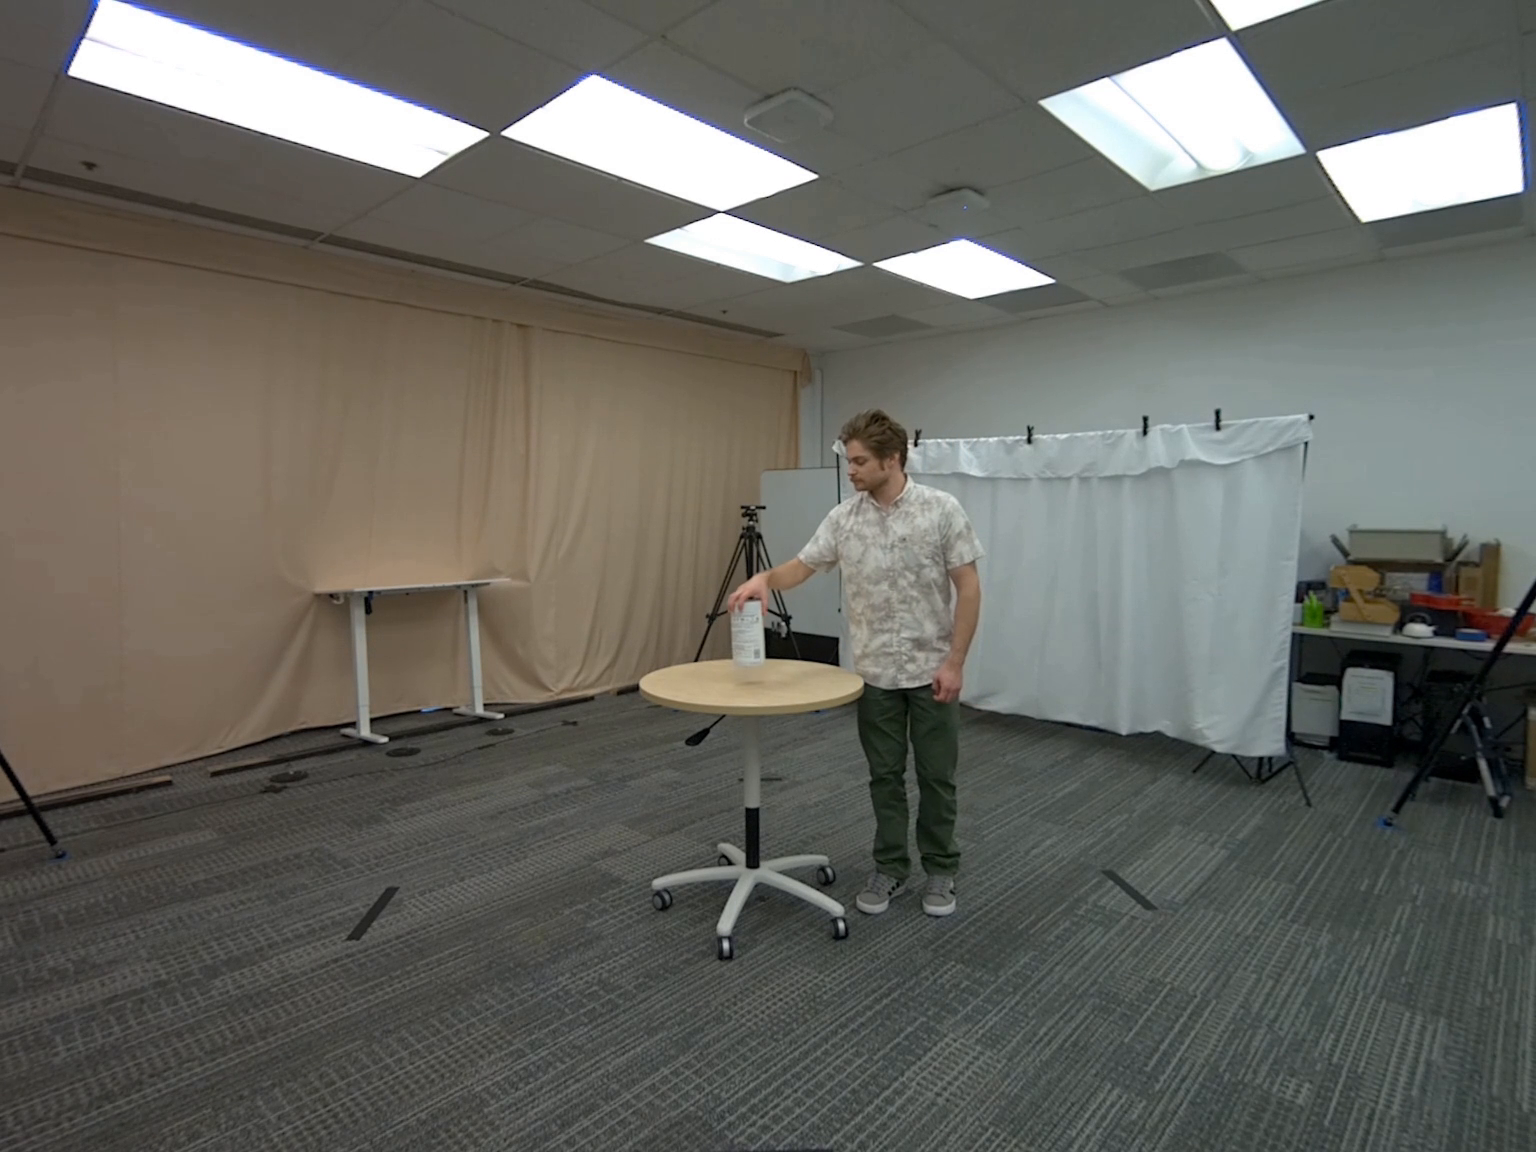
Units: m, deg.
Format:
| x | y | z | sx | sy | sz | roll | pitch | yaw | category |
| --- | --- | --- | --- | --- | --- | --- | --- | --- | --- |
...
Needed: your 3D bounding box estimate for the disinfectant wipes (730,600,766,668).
| x | y | z | sx | sy | sz | roll | pitch | yaw | category |
| --- | --- | --- | --- | --- | --- | --- | --- | --- | --- |
| -0.059 | 0.194 | 2.815 | 0.118 | 0.217 | 0.118 | -2 | 3 | -2 | disinfectant wipes |
